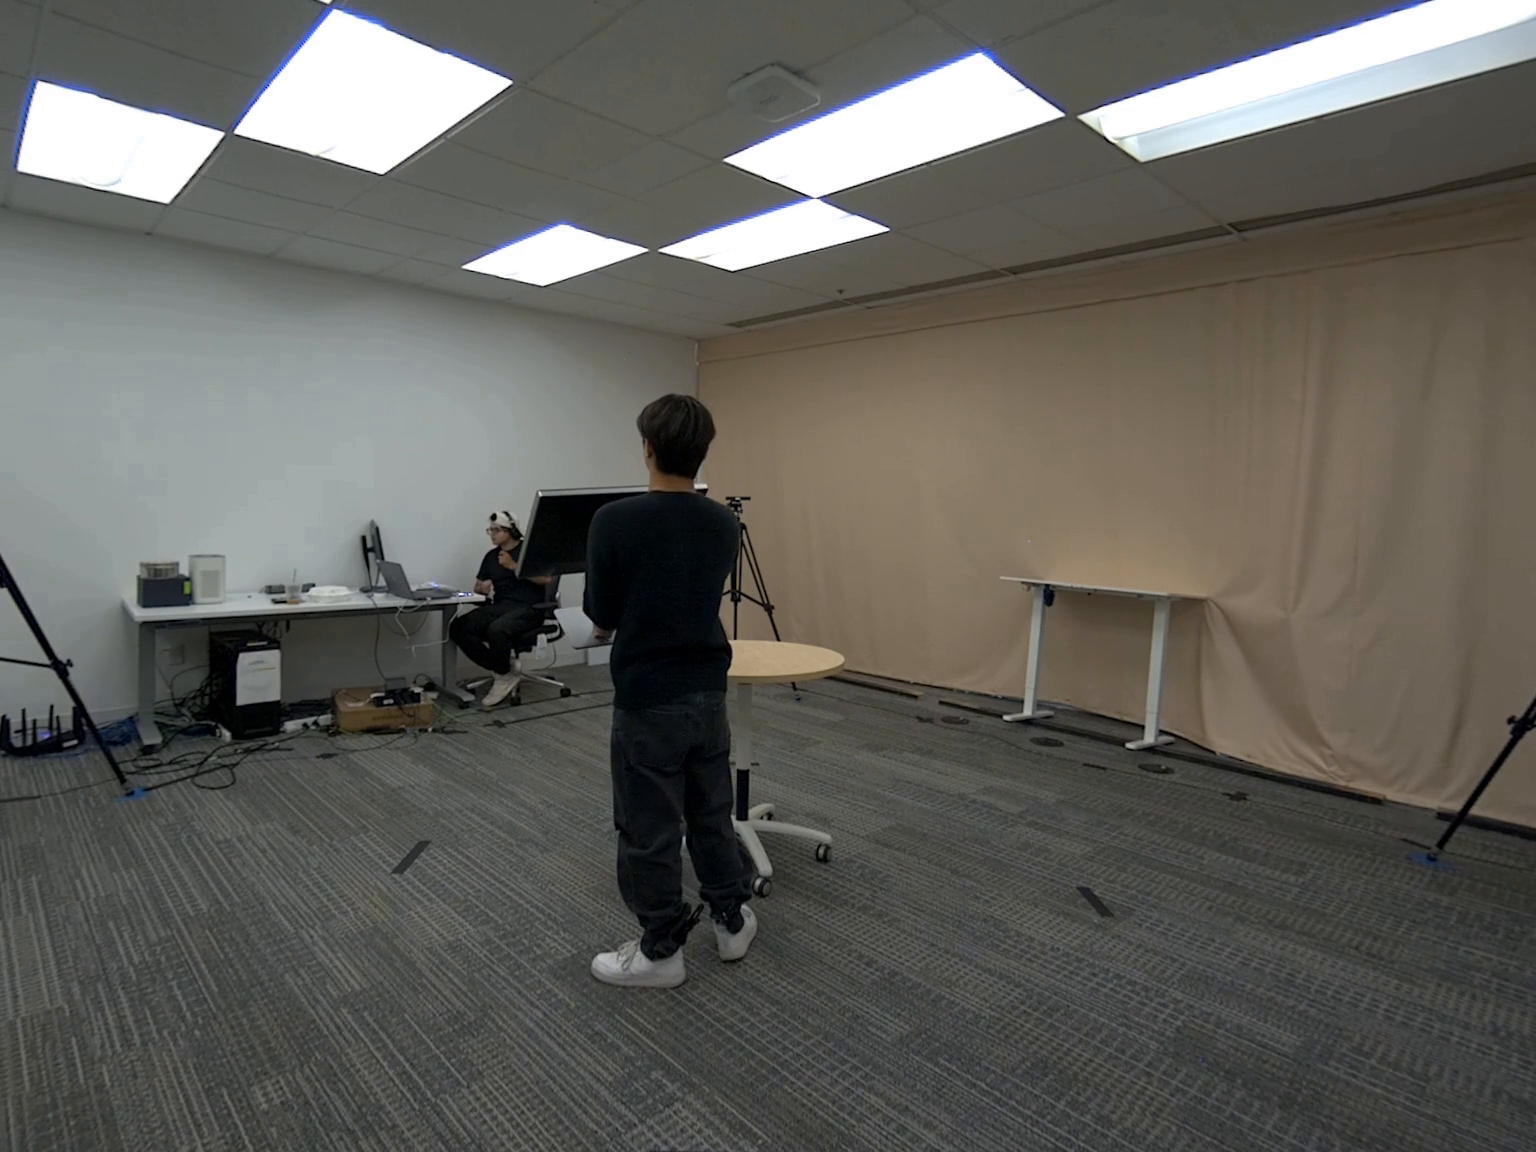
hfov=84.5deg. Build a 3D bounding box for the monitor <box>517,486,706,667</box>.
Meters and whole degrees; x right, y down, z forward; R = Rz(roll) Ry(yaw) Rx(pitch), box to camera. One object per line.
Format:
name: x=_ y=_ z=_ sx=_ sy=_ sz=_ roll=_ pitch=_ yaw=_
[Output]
monitor: x=-0.491 y=-0.045 z=2.660 sx=0.529 sy=0.516 sz=0.193 roll=-8 pitch=39 yaw=-35
